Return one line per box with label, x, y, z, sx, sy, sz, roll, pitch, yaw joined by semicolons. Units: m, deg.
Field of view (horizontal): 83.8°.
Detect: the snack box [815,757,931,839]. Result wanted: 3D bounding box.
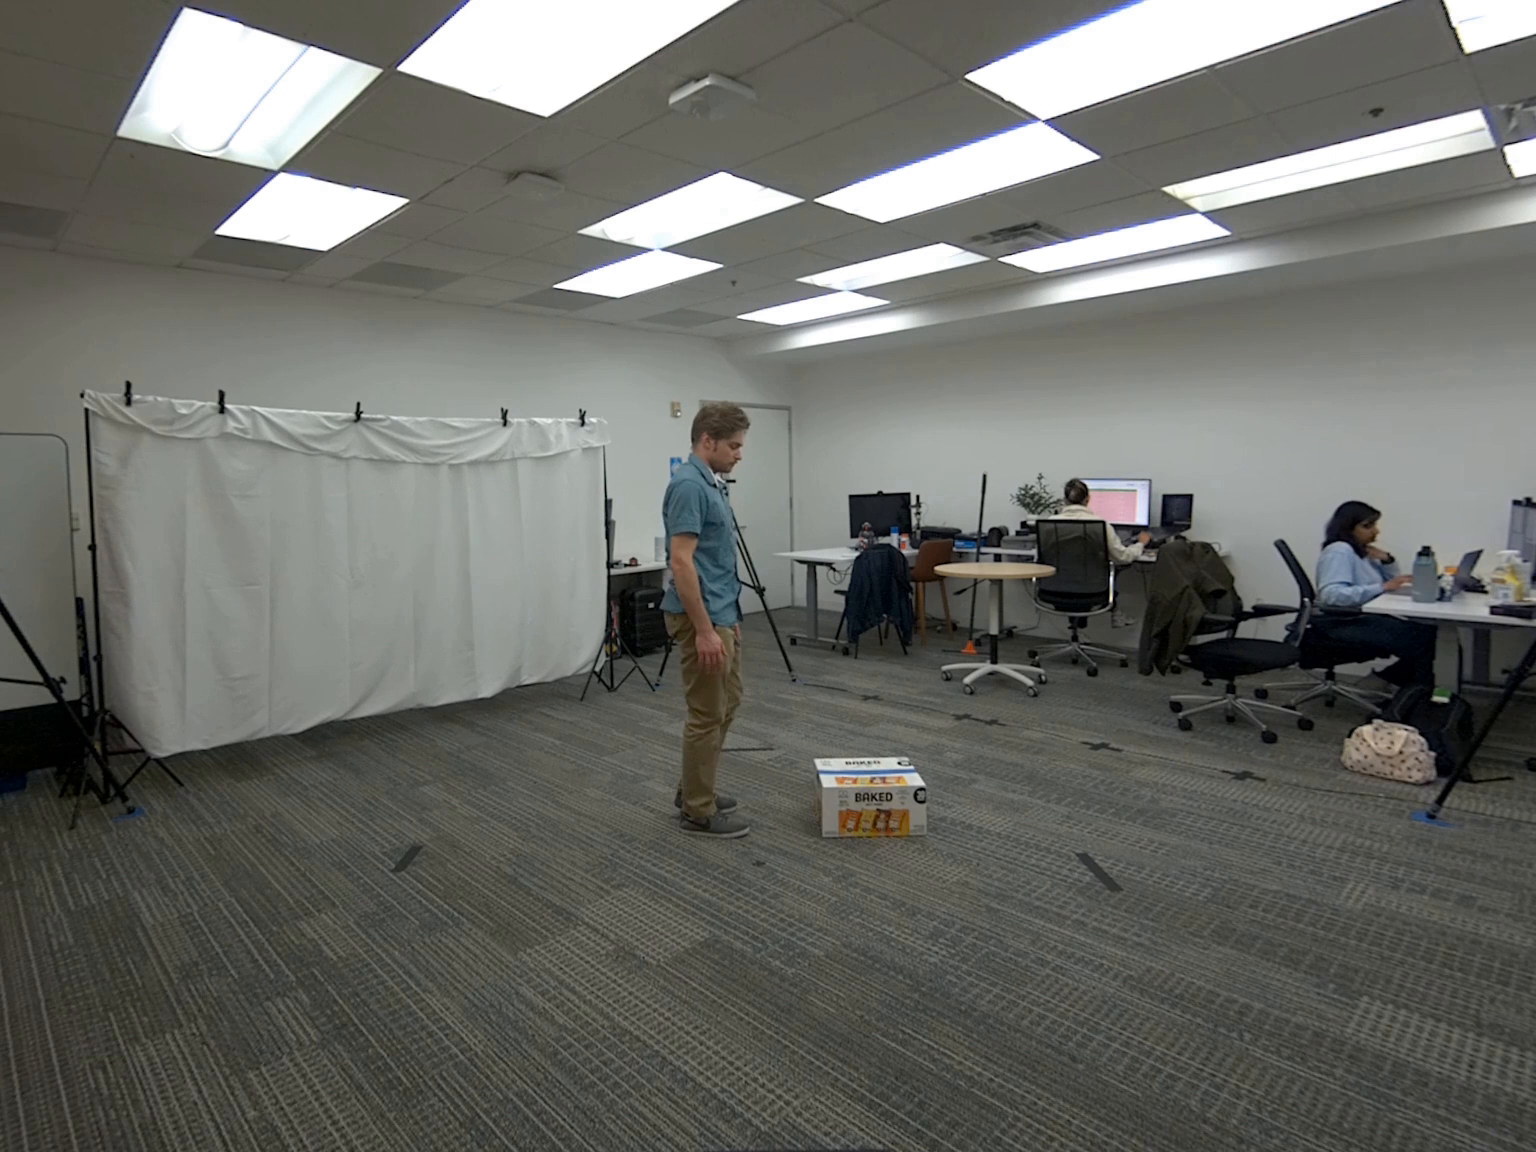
snack box;0.411;0.891;3.478;0.405;0.205;0.342;0;6;-1
